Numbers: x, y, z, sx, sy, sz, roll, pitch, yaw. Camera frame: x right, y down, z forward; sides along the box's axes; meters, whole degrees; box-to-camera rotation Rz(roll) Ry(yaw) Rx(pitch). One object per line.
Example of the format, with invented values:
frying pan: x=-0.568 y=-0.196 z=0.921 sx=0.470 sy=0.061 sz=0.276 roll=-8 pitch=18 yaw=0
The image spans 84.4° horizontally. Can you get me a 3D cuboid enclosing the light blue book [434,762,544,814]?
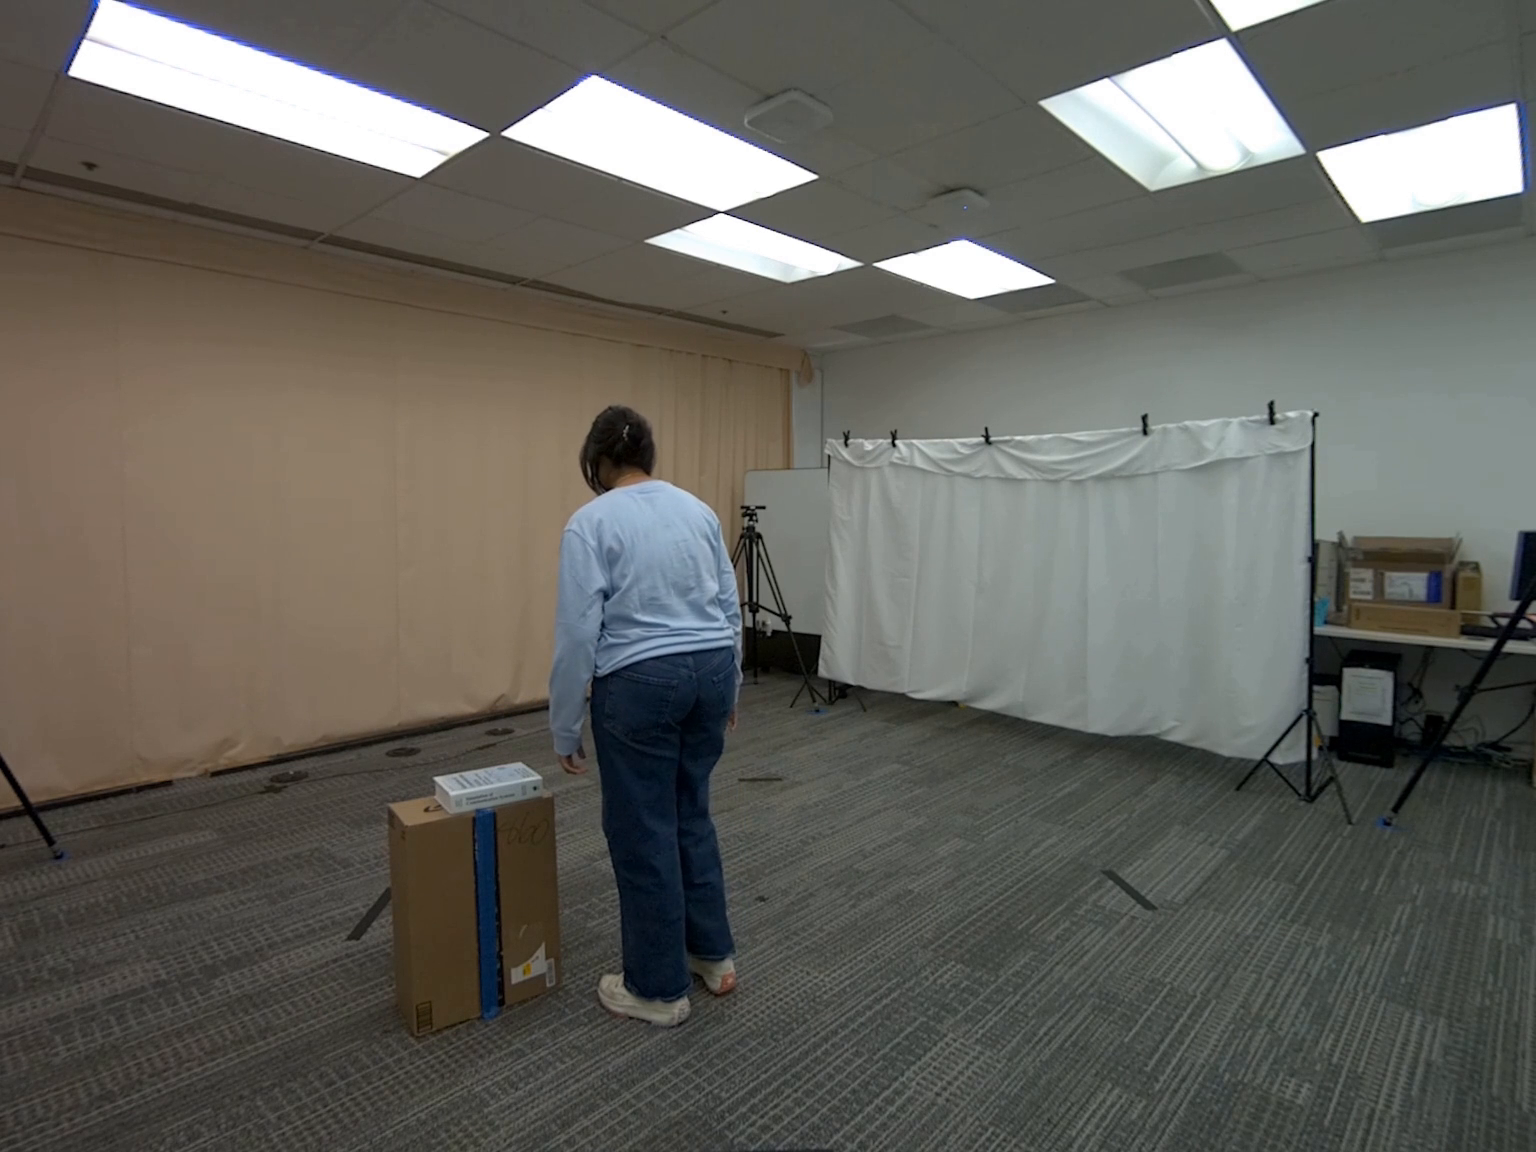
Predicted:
light blue book: x=-0.797 y=0.604 z=2.421 sx=0.254 sy=0.059 sz=0.197 roll=-3 pitch=4 yaw=-33
